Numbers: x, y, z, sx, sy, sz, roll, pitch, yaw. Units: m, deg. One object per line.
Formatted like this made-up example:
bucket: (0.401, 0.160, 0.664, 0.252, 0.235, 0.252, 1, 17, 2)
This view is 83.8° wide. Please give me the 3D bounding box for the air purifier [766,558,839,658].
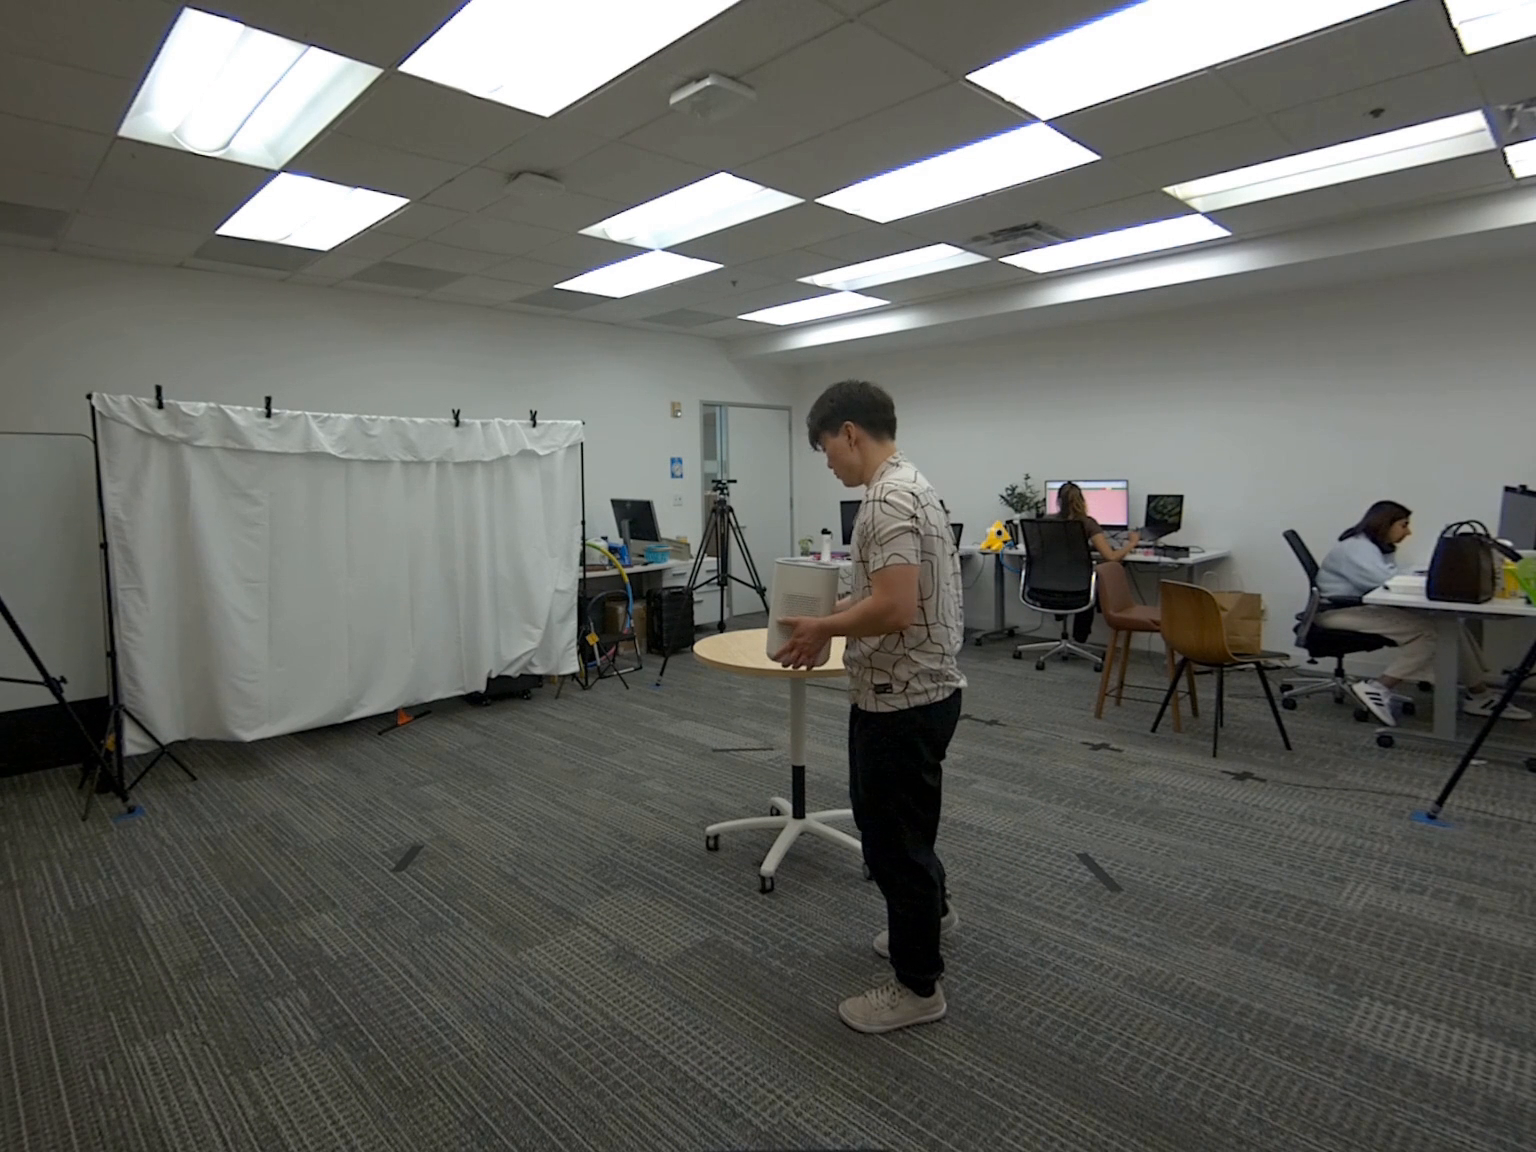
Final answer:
air purifier: (0.097, 0.097, 2.274, 0.173, 0.265, 0.170, 6, 4, 8)
